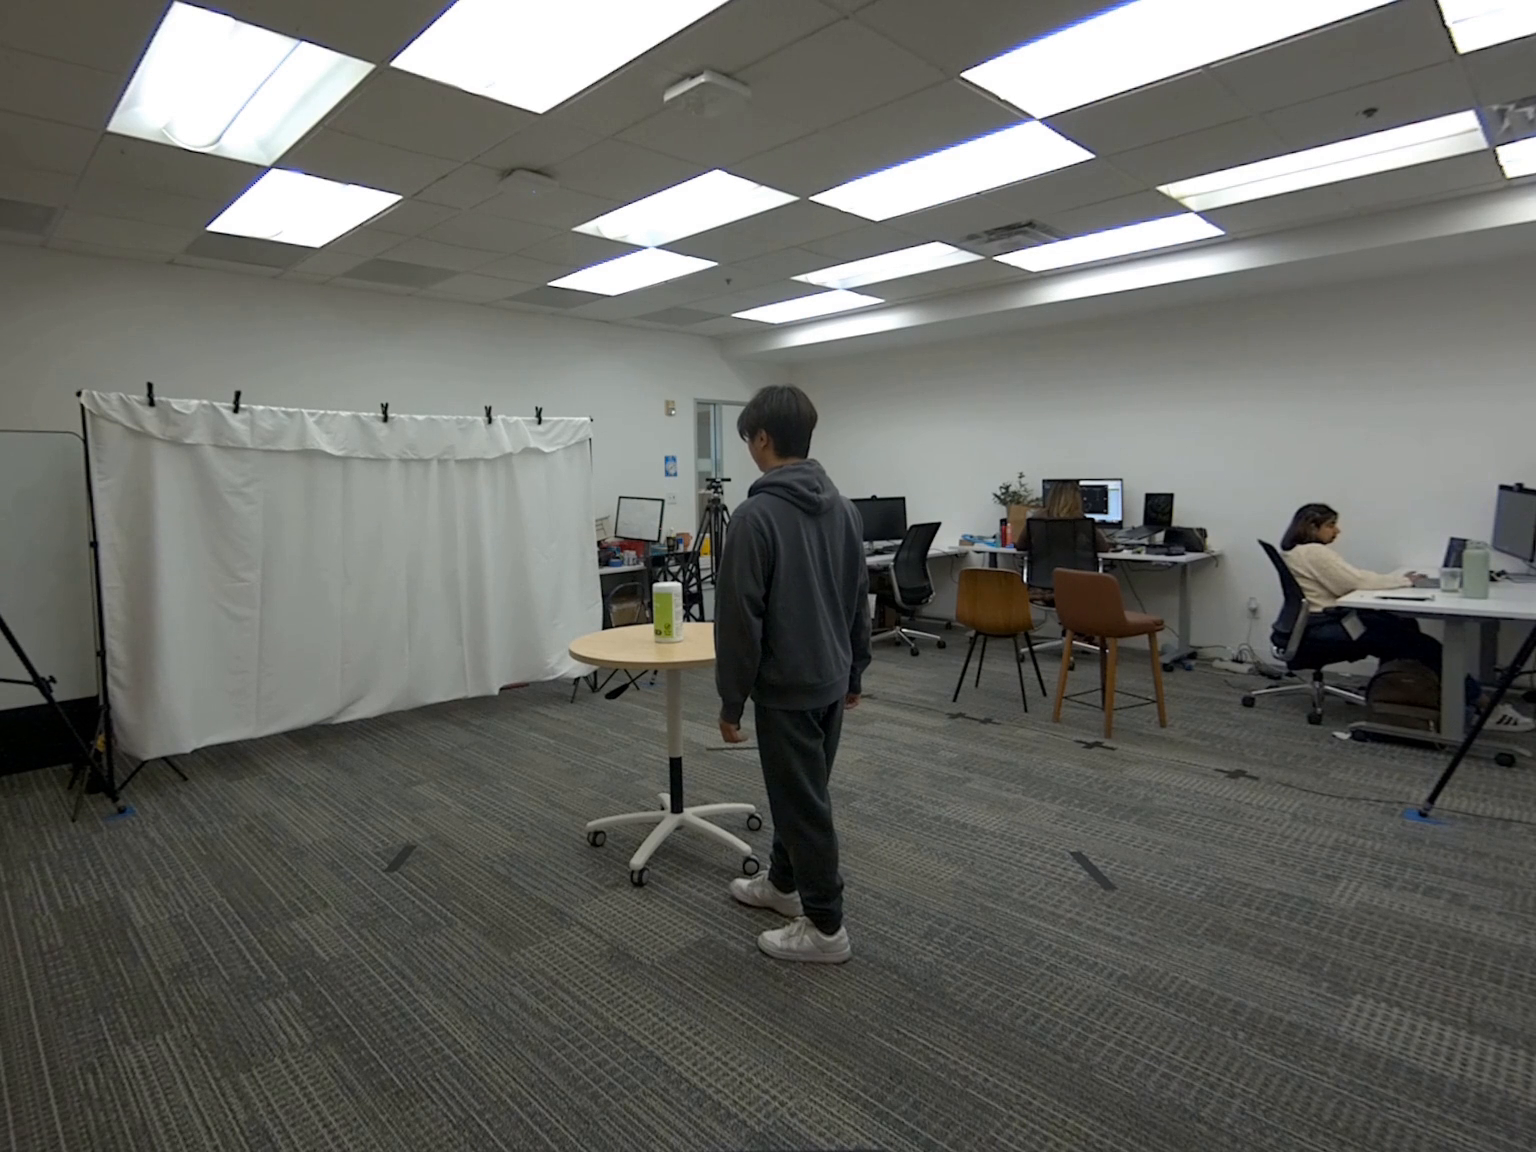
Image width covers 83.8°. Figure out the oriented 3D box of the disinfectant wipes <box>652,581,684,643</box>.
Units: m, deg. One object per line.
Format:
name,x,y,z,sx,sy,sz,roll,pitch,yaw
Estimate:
disinfectant wipes,-0.372,0.134,3.182,0.118,0.216,0.118,-1,5,-2
